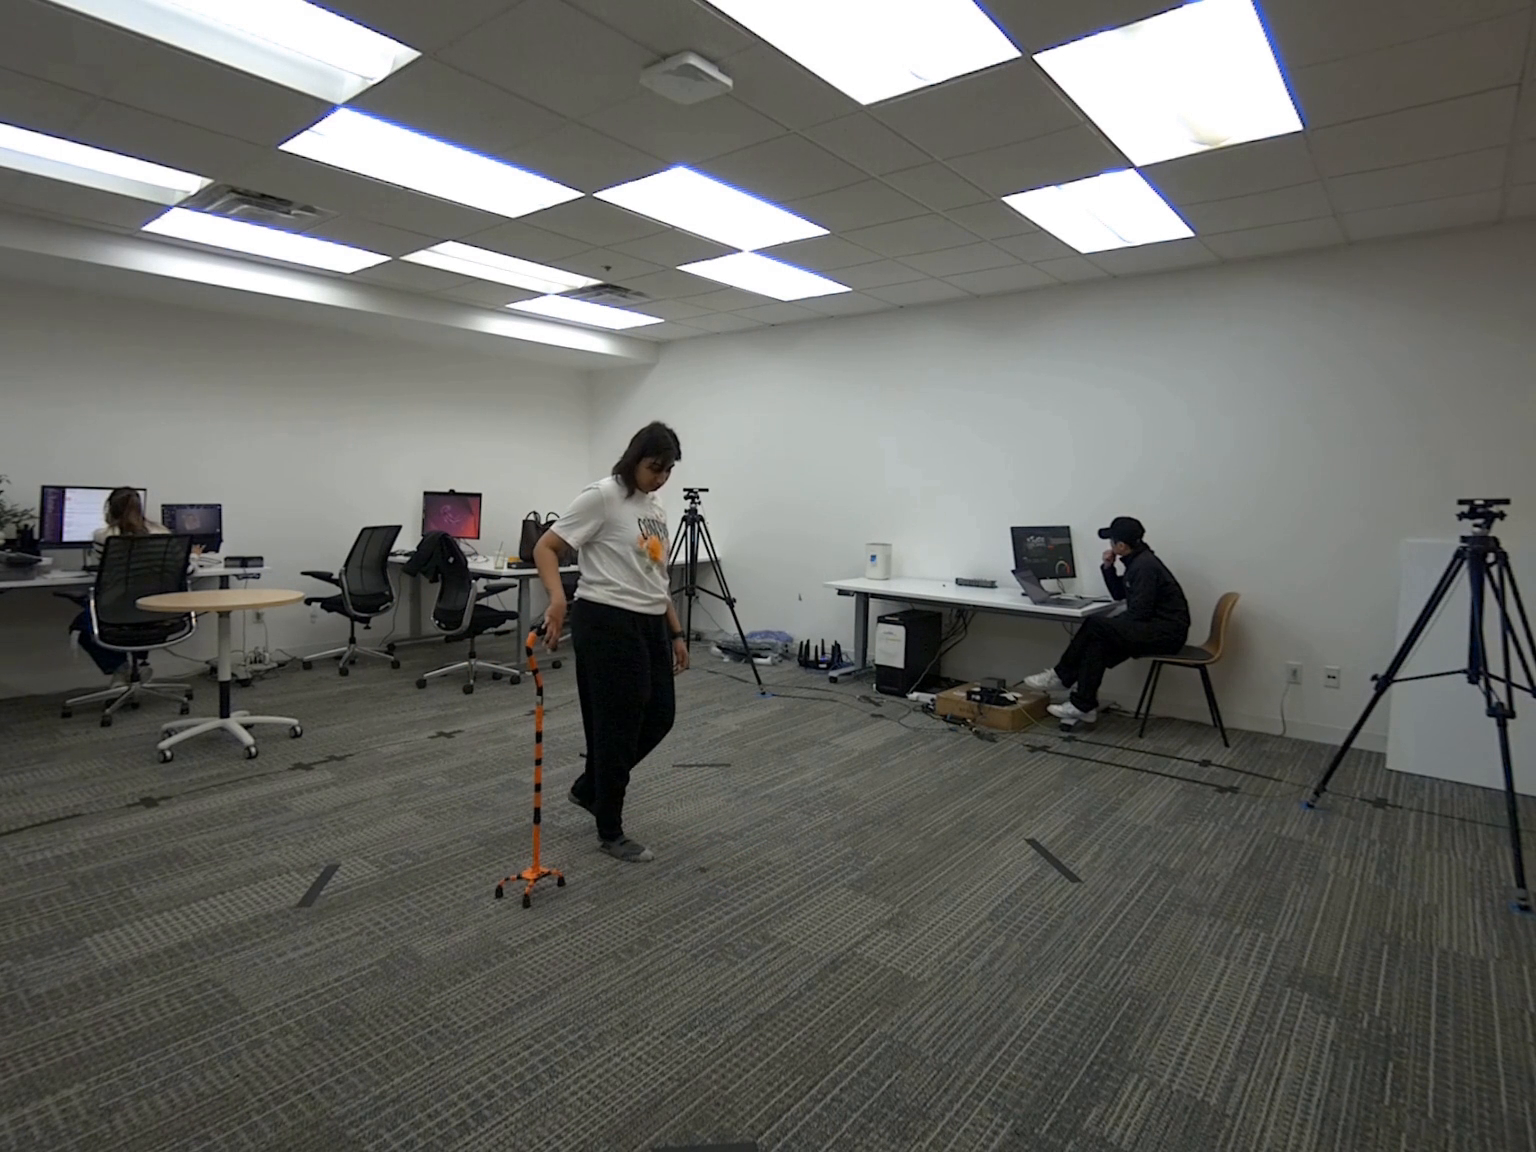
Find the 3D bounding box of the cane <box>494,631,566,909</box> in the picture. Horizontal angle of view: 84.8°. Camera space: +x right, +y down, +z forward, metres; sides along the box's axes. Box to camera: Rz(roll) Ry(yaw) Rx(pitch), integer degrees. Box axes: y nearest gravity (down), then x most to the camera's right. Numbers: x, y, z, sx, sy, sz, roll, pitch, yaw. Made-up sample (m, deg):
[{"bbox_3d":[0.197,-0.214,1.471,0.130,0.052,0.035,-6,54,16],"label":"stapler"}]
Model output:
[{"bbox_3d":[-0.804,0.626,2.900,0.156,0.906,0.201,4,3,29],"label":"cane"}]
